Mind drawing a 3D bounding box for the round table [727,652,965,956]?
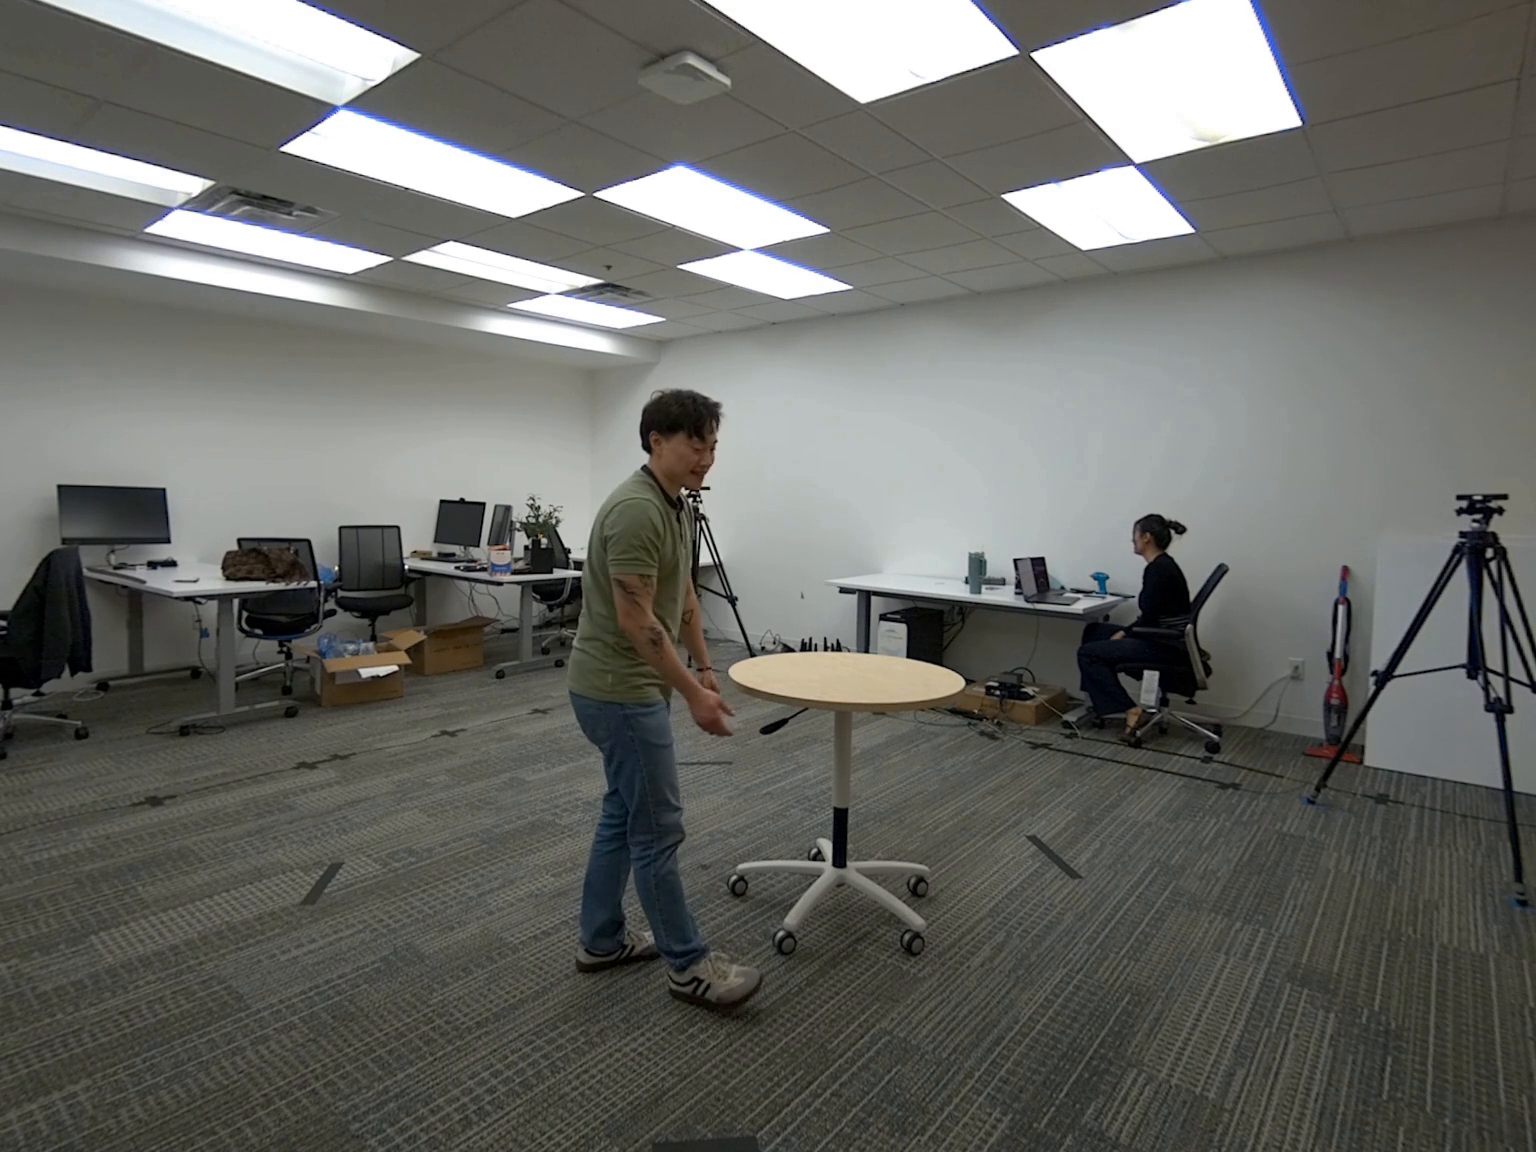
[{"bbox_3d":[0.234,0.713,2.816,0.763,0.791,0.768,1,4,-2],"label":"round table"}]
